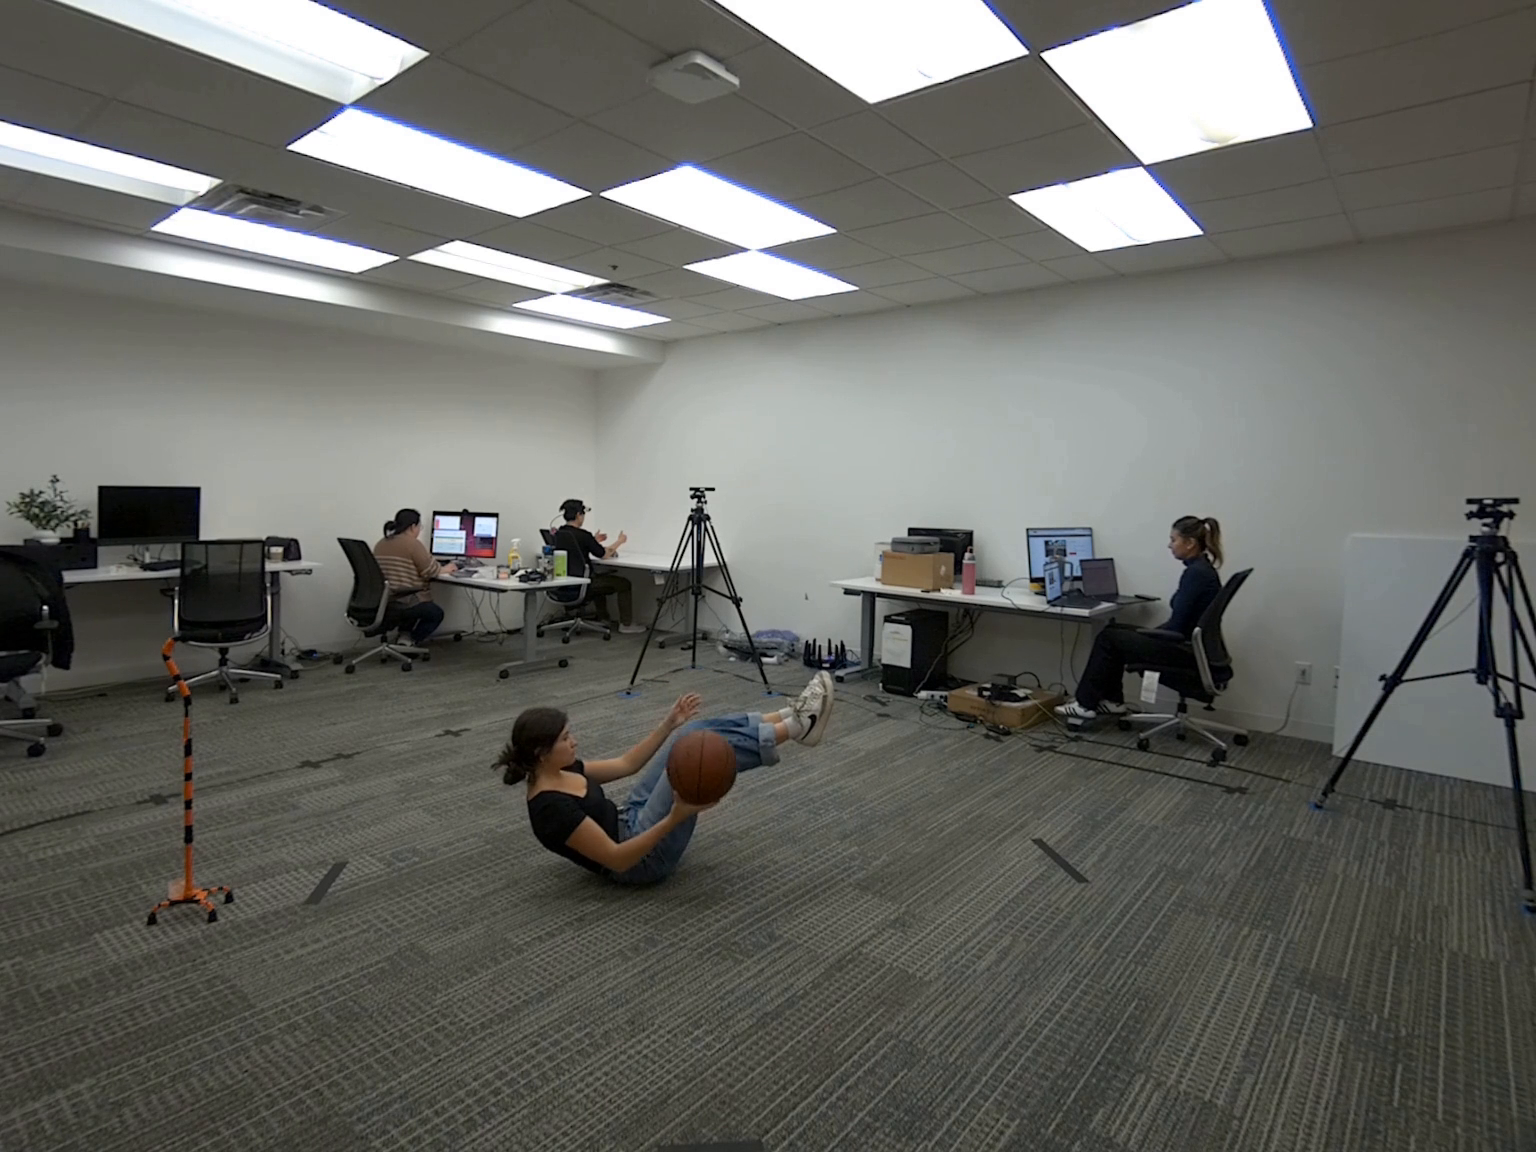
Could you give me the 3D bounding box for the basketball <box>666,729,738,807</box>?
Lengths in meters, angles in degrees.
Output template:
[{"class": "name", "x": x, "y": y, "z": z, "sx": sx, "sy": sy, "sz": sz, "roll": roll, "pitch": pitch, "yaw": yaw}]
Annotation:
[{"class": "basketball", "x": -0.227, "y": 0.630, "z": 2.837, "sx": 0.235, "sy": 0.235, "sz": 0.237, "roll": 1, "pitch": 4, "yaw": -2}]
